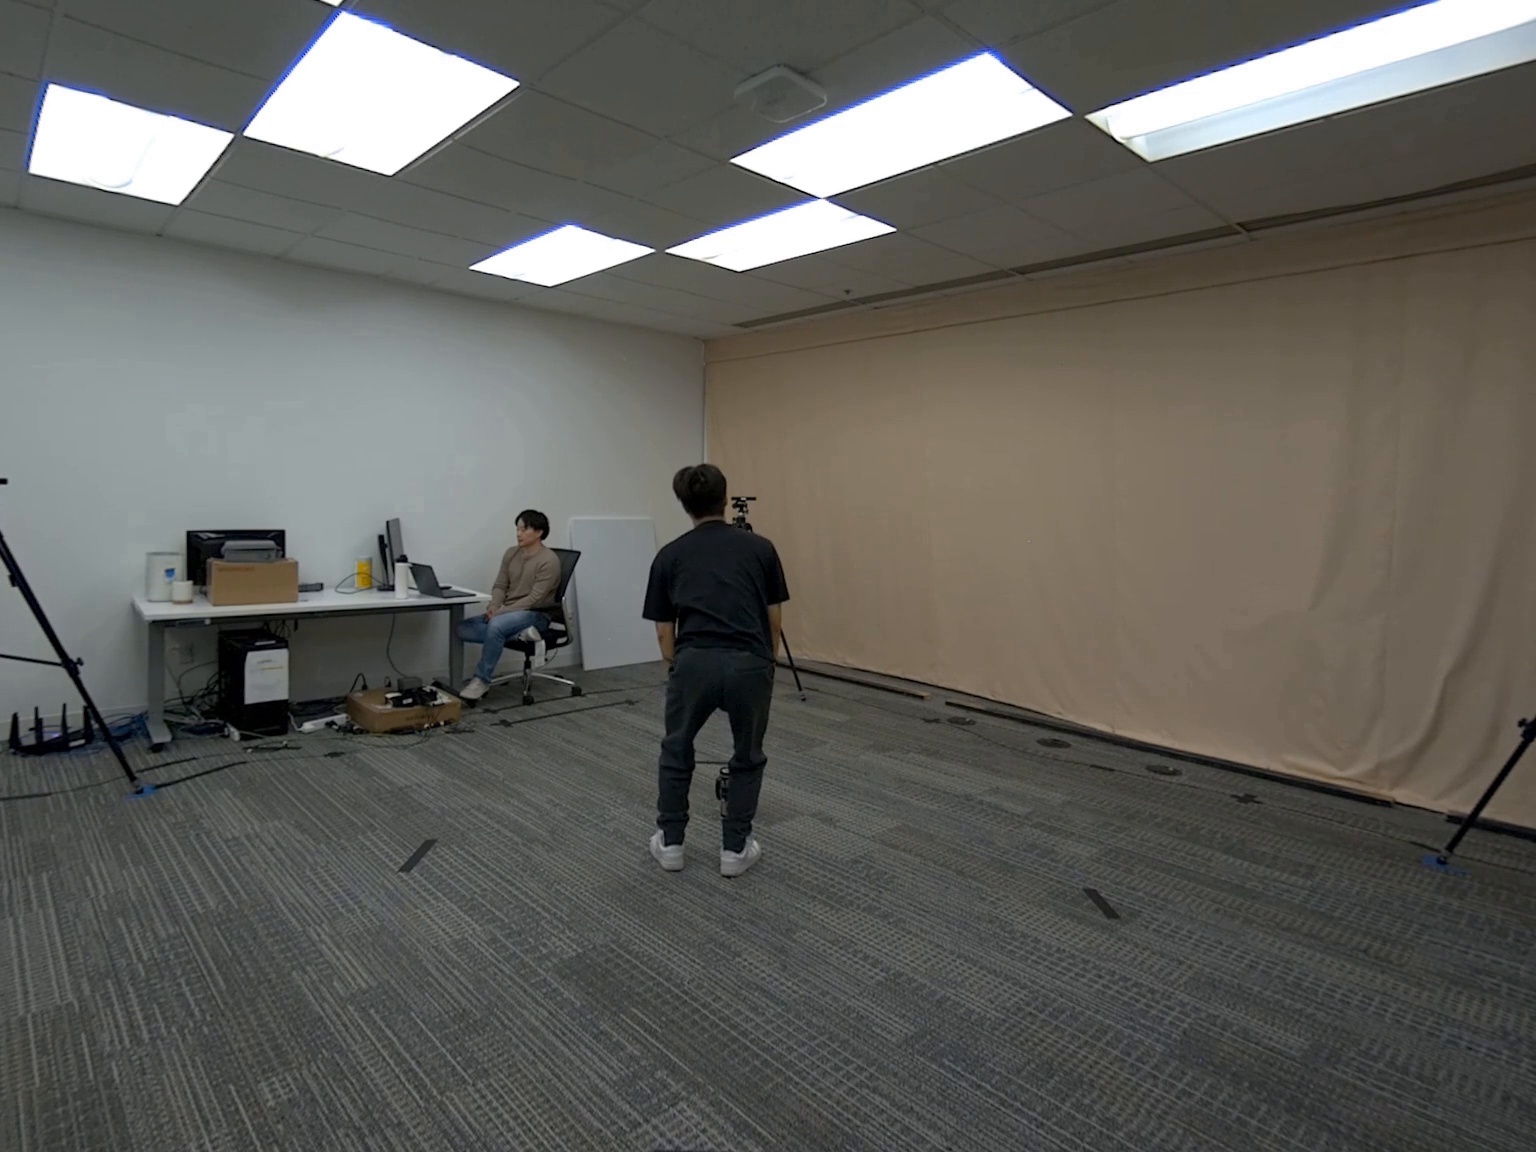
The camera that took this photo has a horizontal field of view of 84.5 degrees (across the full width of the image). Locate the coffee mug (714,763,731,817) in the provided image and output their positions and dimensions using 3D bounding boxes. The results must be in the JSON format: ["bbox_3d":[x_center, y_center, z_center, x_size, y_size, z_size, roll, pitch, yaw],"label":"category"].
[{"bbox_3d":[-0.201,0.954,3.690,0.119,0.202,0.090,3,5,-38],"label":"coffee mug"}]
